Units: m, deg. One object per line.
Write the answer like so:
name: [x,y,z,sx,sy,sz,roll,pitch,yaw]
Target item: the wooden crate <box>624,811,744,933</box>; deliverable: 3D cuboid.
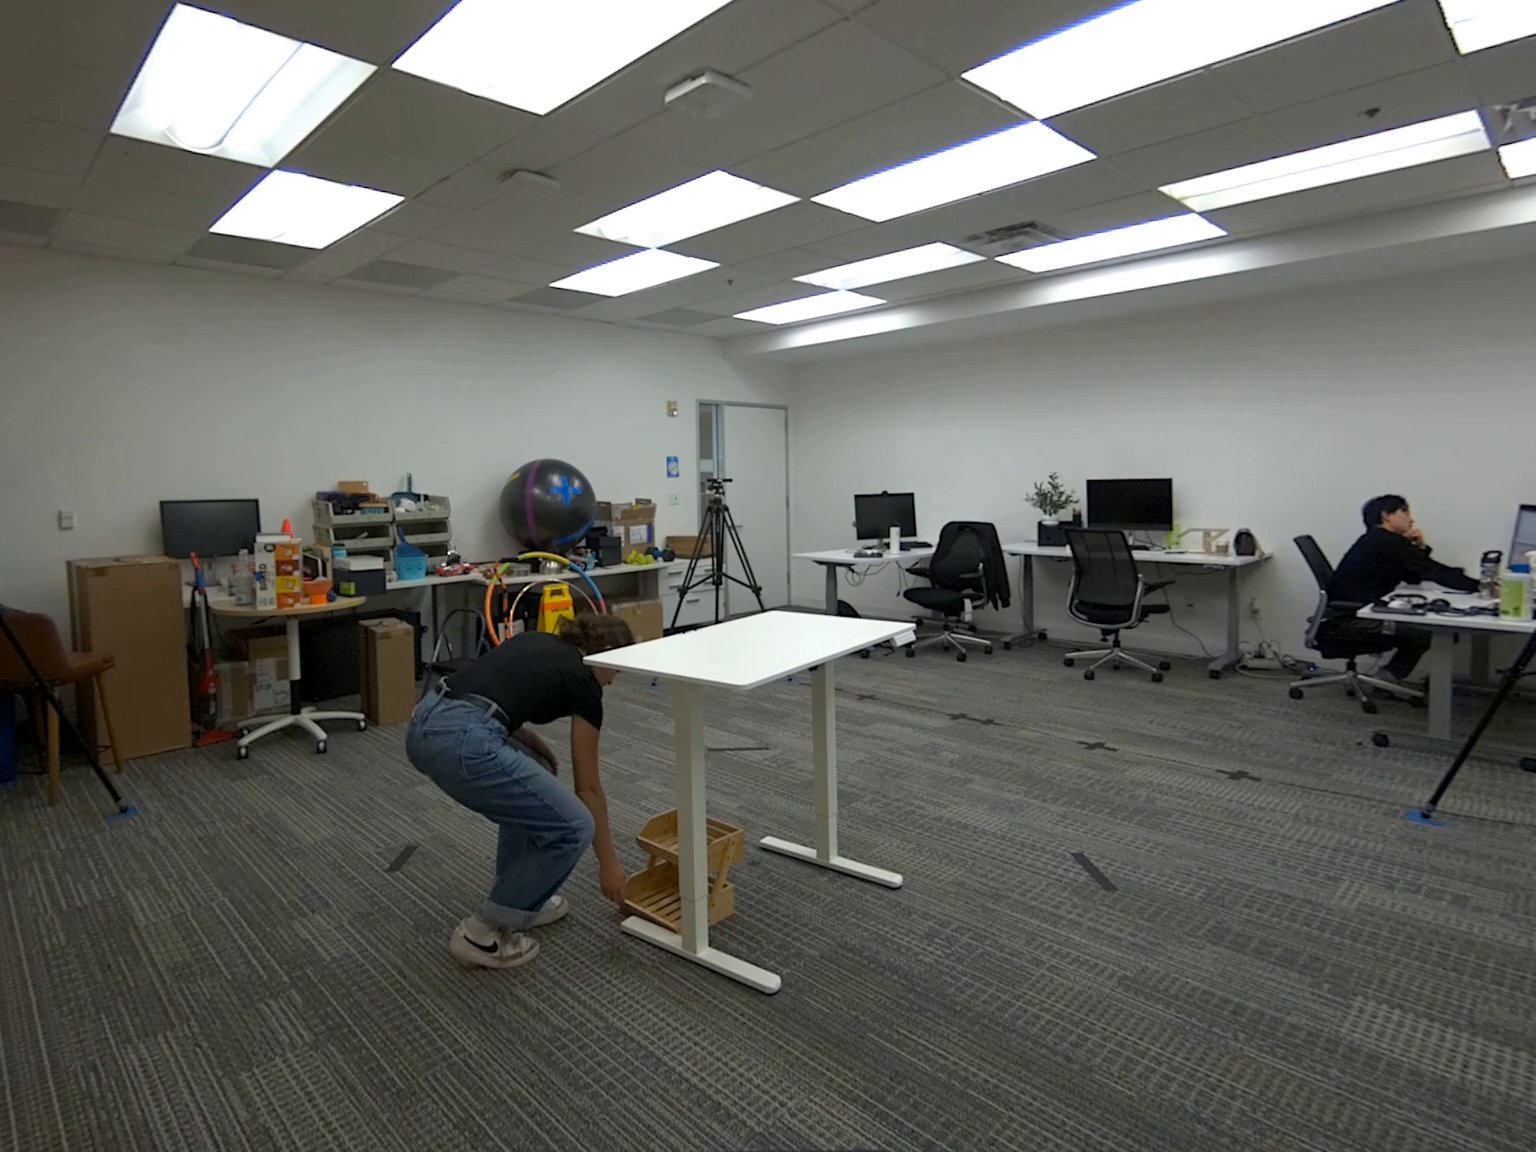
wooden crate: [-0.286,0.954,2.779,0.334,0.272,0.294,4,7,42]
